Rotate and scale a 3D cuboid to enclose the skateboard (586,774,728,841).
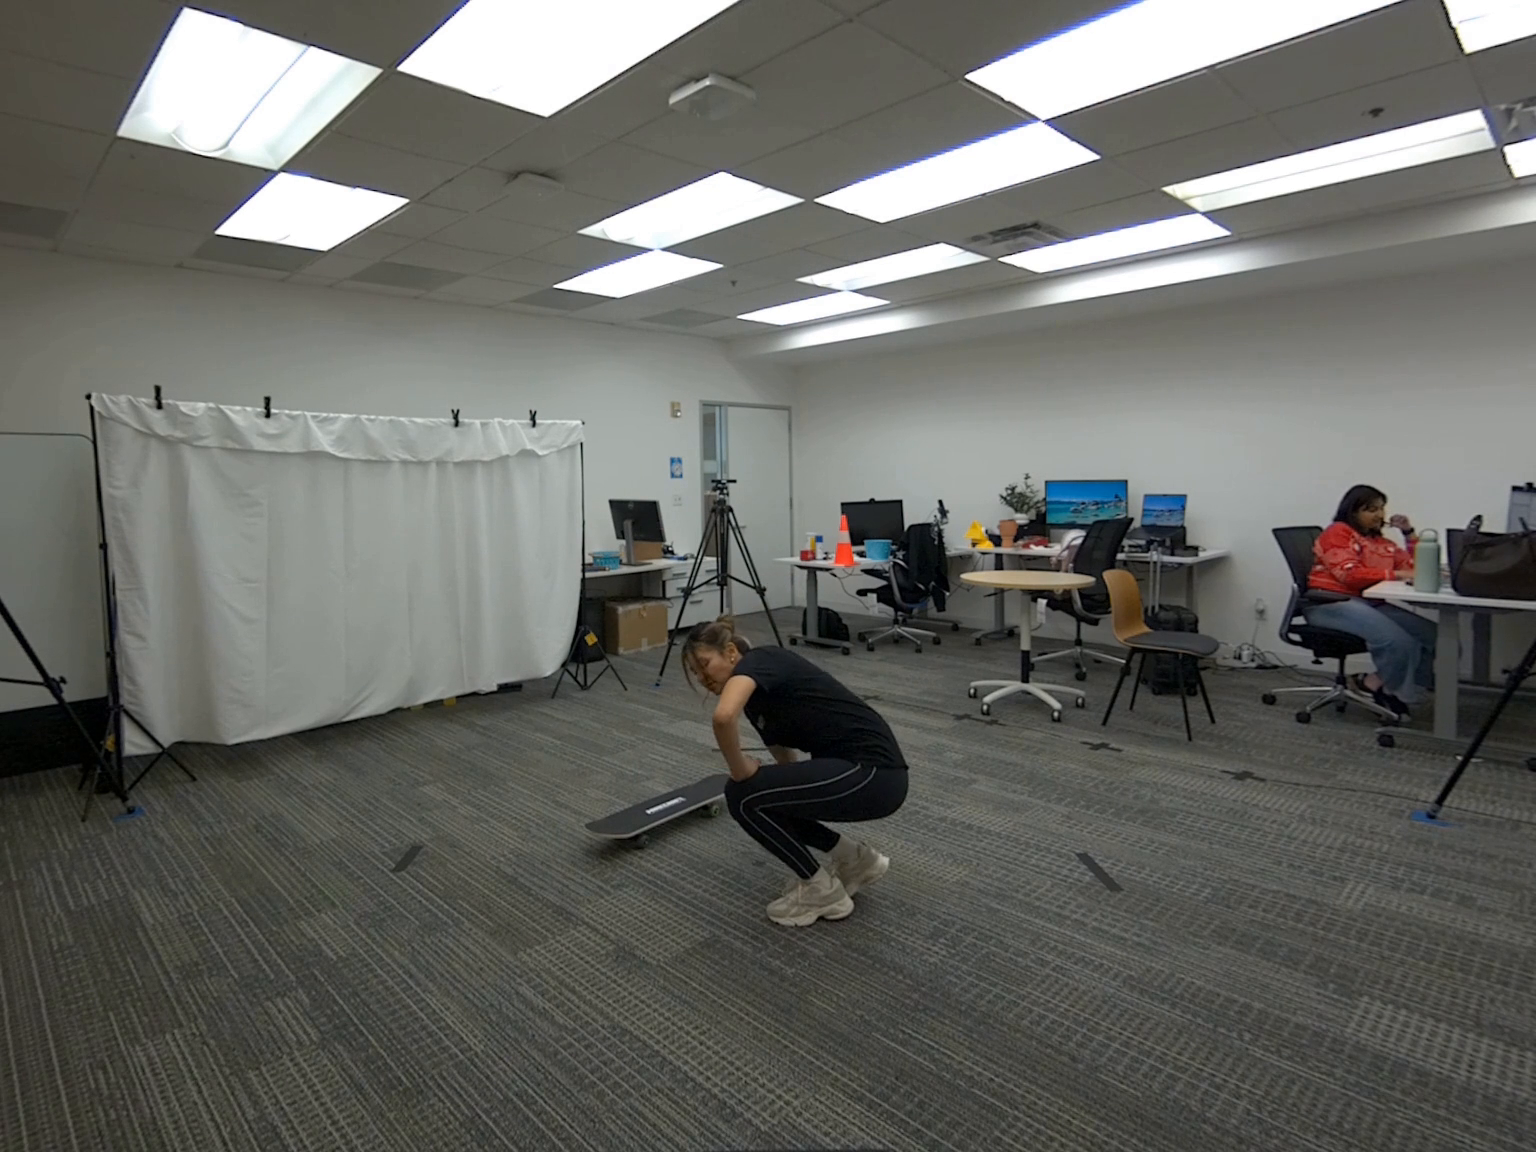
[{"bbox_3d":[-0.411,0.954,3.460,0.199,0.110,0.765,4,8,40],"label":"skateboard"}]
